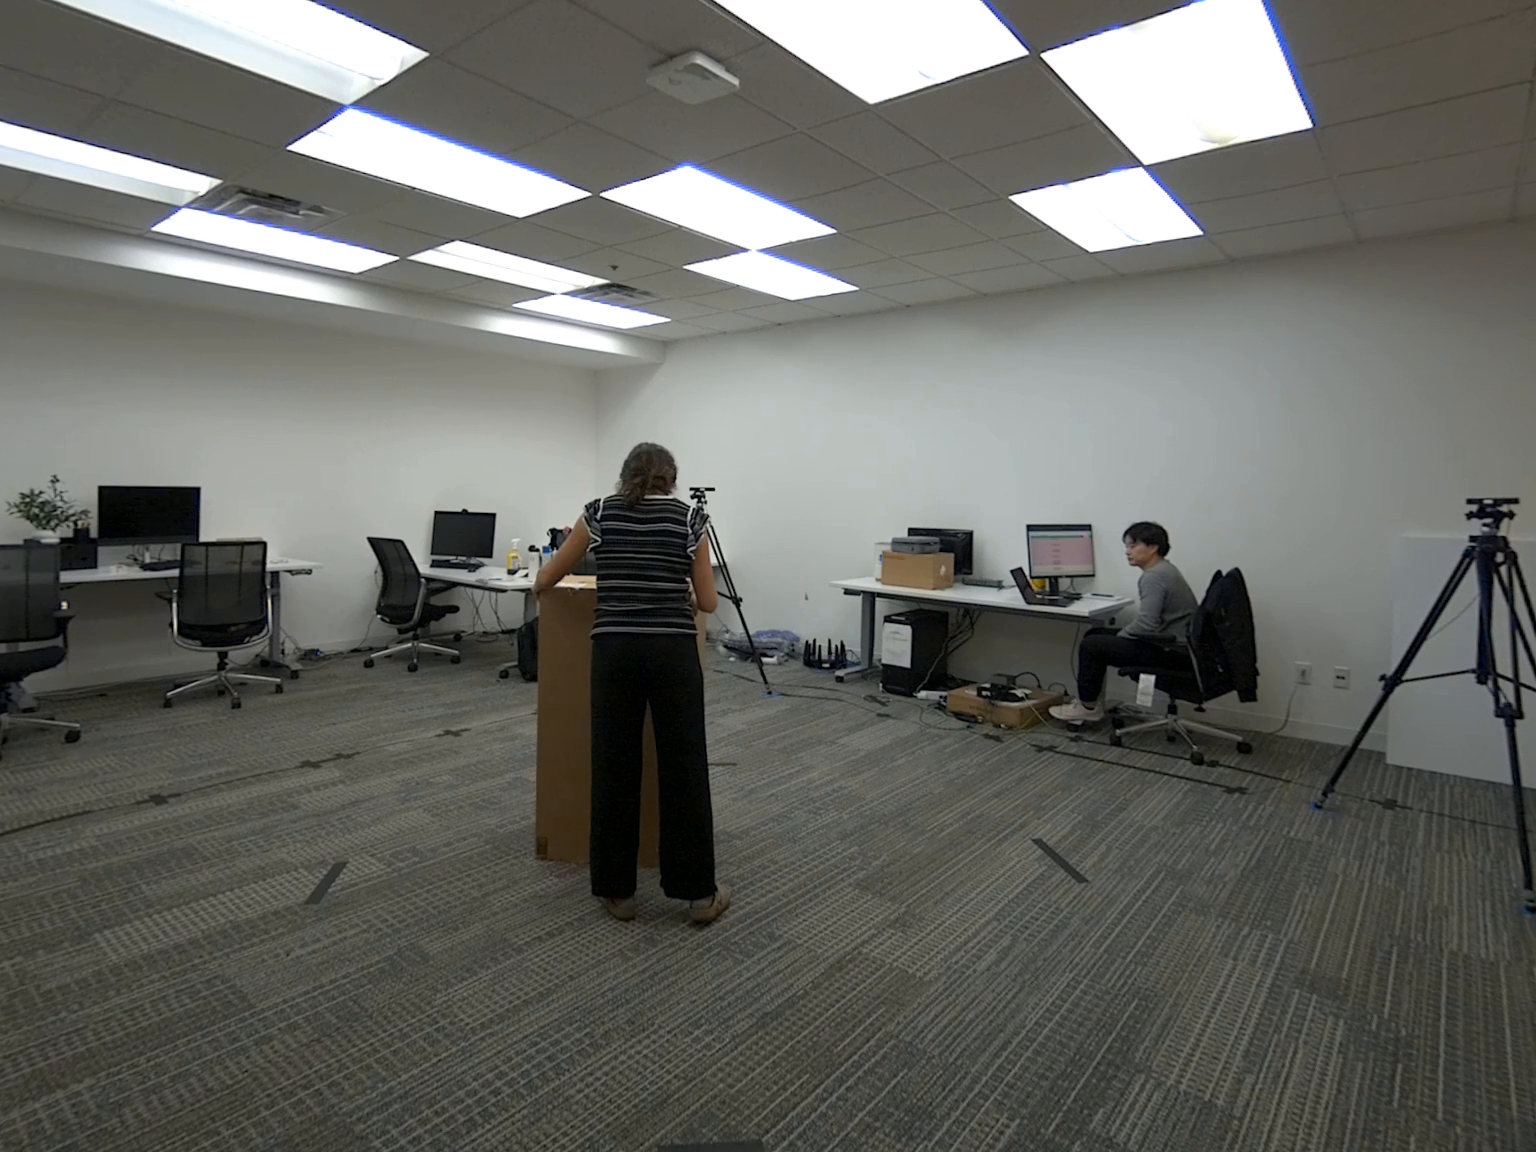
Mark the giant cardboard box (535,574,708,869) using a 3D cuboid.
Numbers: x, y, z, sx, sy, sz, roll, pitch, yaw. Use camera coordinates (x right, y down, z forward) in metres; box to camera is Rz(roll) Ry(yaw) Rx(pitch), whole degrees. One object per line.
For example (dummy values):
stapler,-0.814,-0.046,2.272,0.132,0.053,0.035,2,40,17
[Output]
giant cardboard box,-0.577,0.535,3.314,0.581,1.023,0.425,2,3,5
